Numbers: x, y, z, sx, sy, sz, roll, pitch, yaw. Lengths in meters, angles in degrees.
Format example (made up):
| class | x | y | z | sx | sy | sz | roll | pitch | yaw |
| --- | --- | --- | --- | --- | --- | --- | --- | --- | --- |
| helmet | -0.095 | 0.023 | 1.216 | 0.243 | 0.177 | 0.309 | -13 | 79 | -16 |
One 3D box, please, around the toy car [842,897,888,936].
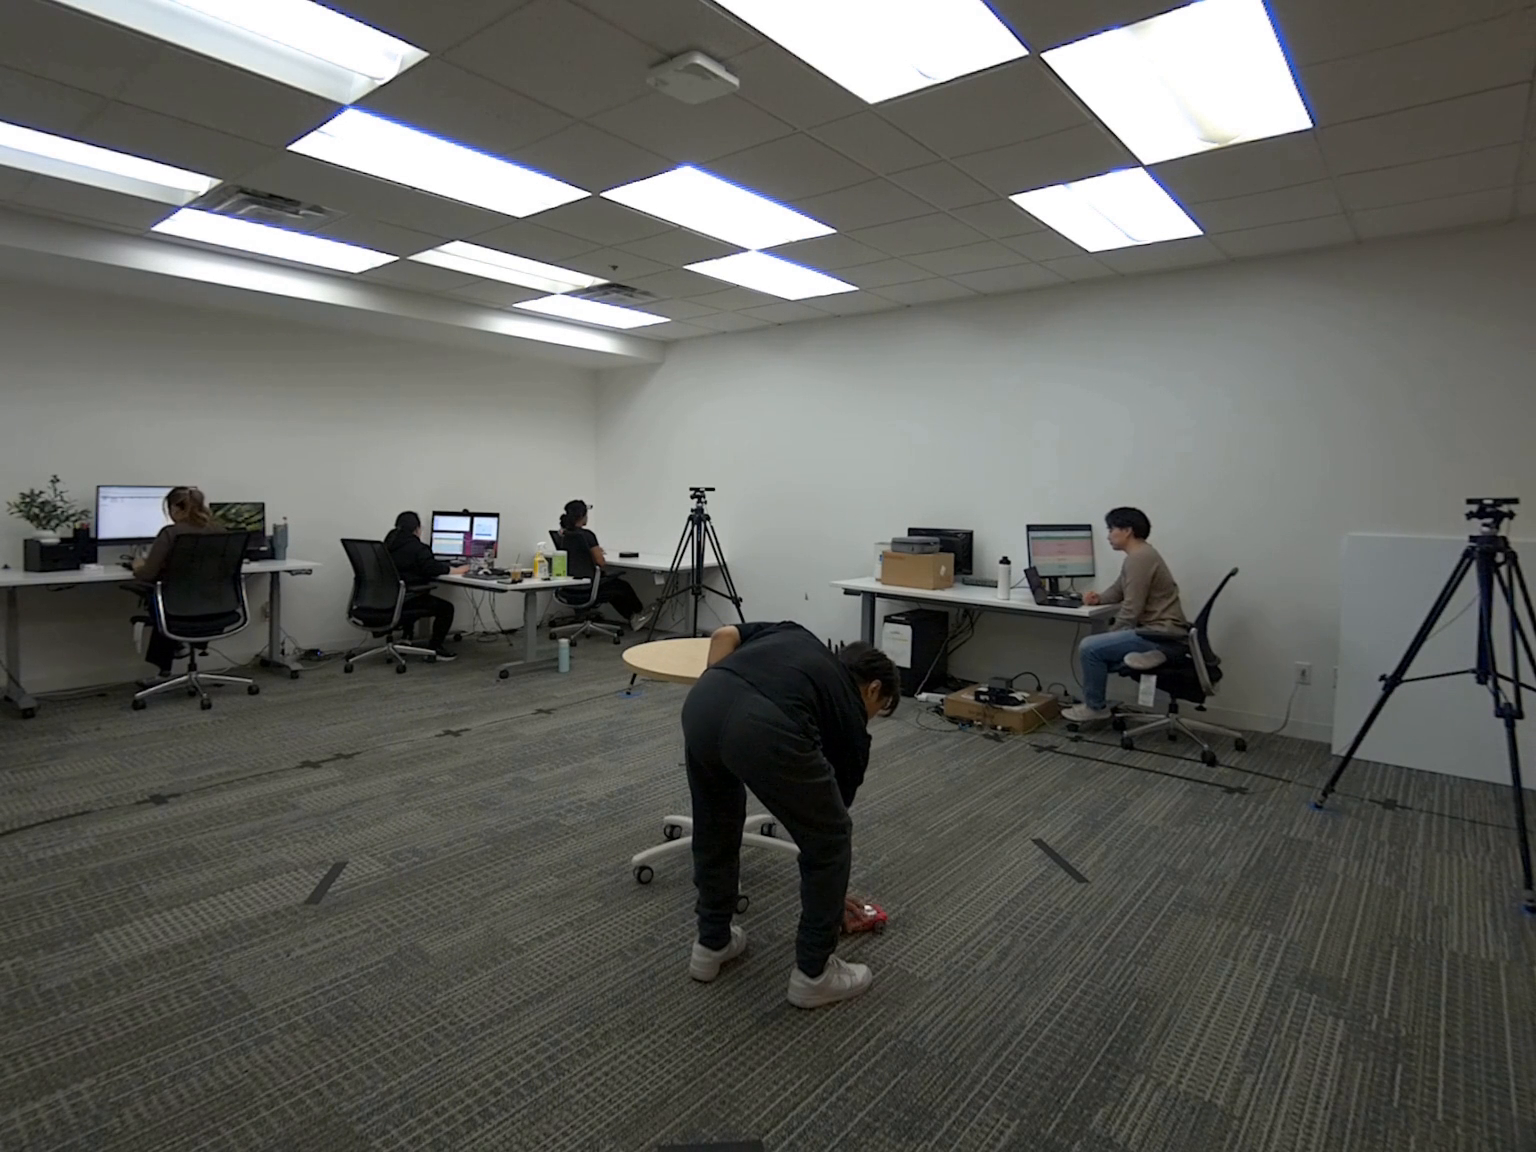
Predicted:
| class | x | y | z | sx | sy | sz | roll | pitch | yaw |
| --- | --- | --- | --- | --- | --- | --- | --- | --- | --- |
| toy car | 0.246 | 1.087 | 2.708 | 0.250 | 0.083 | 0.133 | 10 | 0 | -16 |
